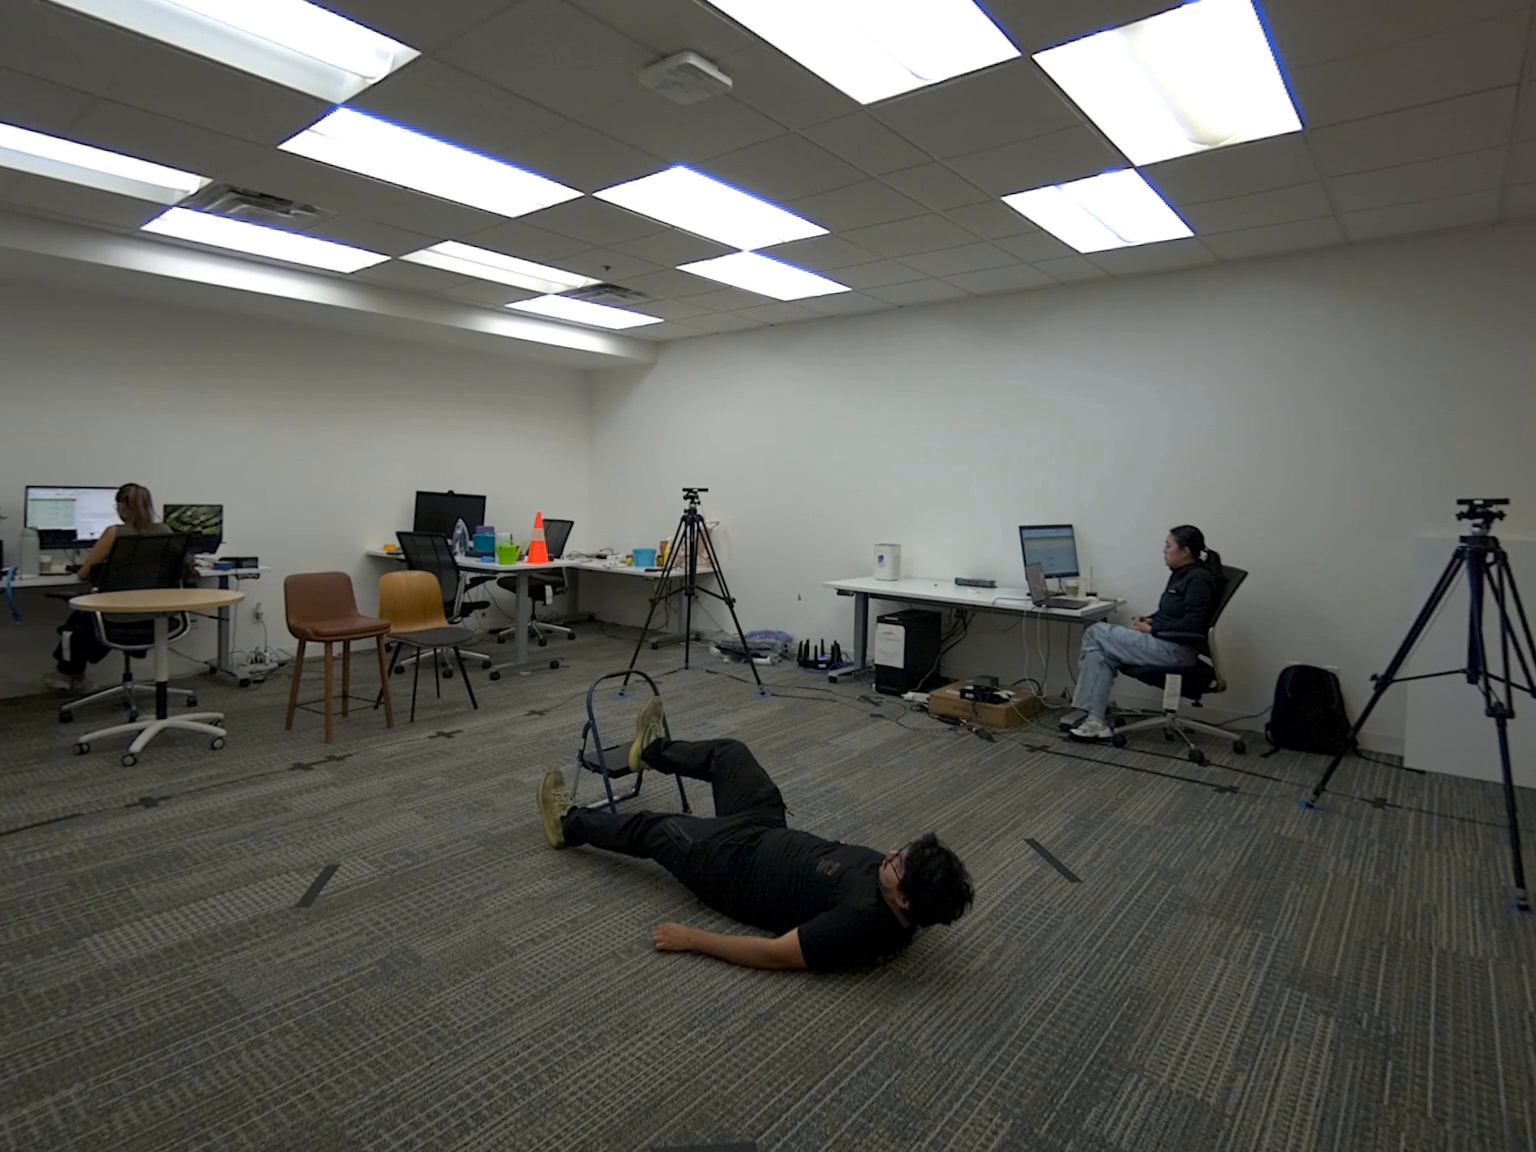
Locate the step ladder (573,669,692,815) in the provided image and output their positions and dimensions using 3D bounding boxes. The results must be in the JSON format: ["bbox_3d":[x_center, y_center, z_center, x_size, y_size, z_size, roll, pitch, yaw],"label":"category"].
[{"bbox_3d":[-0.595,0.713,3.600,0.361,0.605,0.418,3,3,38],"label":"step ladder"}]
